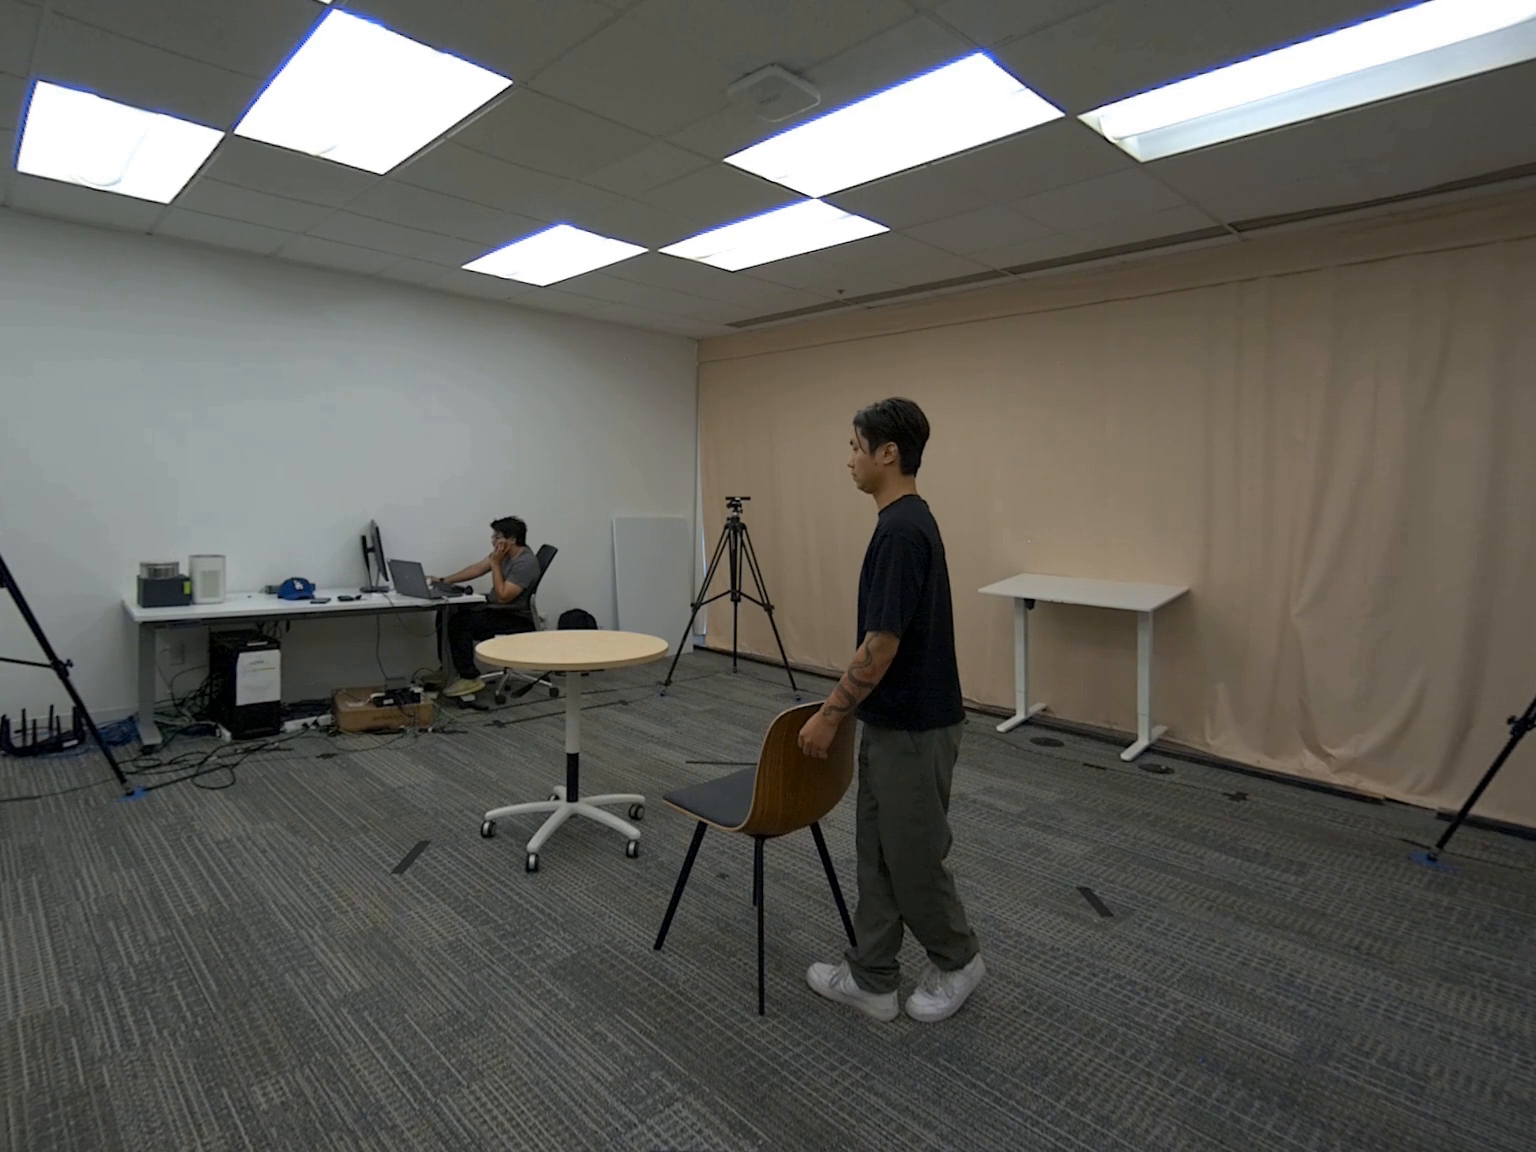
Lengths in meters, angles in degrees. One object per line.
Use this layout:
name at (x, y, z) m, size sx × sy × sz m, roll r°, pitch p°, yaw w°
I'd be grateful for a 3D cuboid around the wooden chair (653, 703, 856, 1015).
wooden chair at (-0.033, 0.732, 2.557) m, size 0.538 × 0.873 × 0.467 m, roll 11°, pitch 10°, yaw 43°
